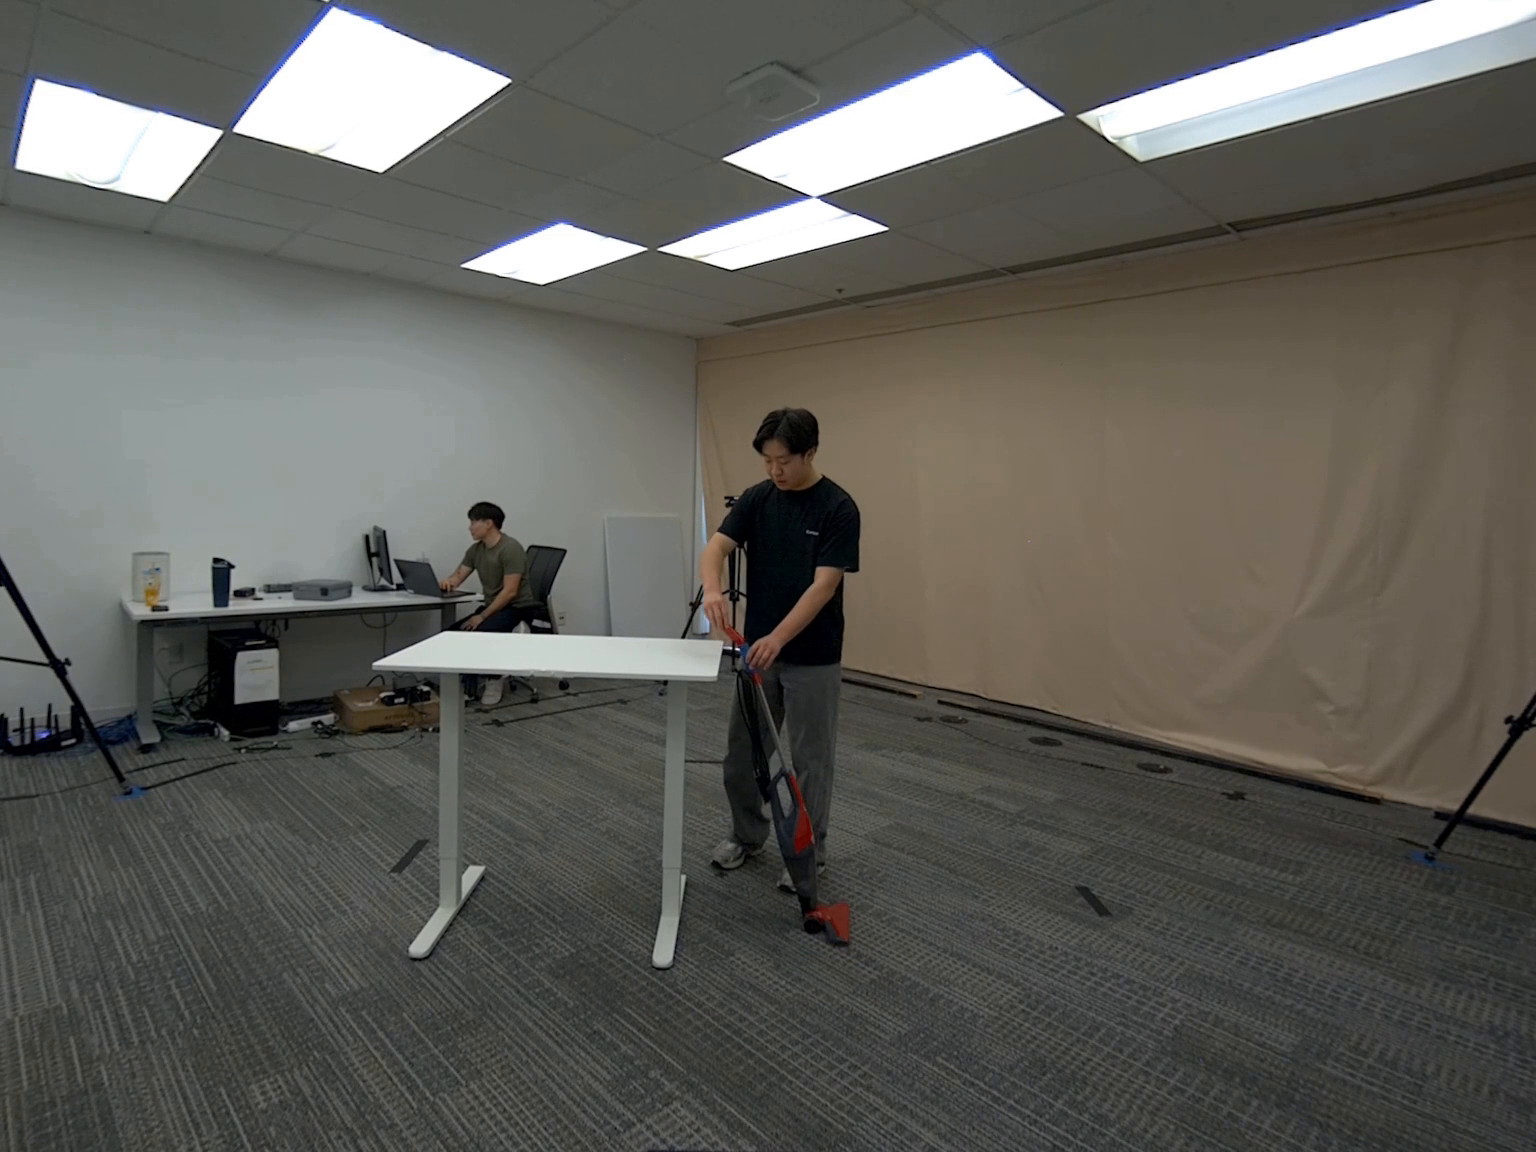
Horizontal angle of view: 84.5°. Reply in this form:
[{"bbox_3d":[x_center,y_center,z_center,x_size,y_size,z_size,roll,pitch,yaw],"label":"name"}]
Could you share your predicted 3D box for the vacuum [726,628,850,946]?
[{"bbox_3d":[0.015,0.643,2.749,0.144,1.050,0.252,-19,0,4],"label":"vacuum"}]
